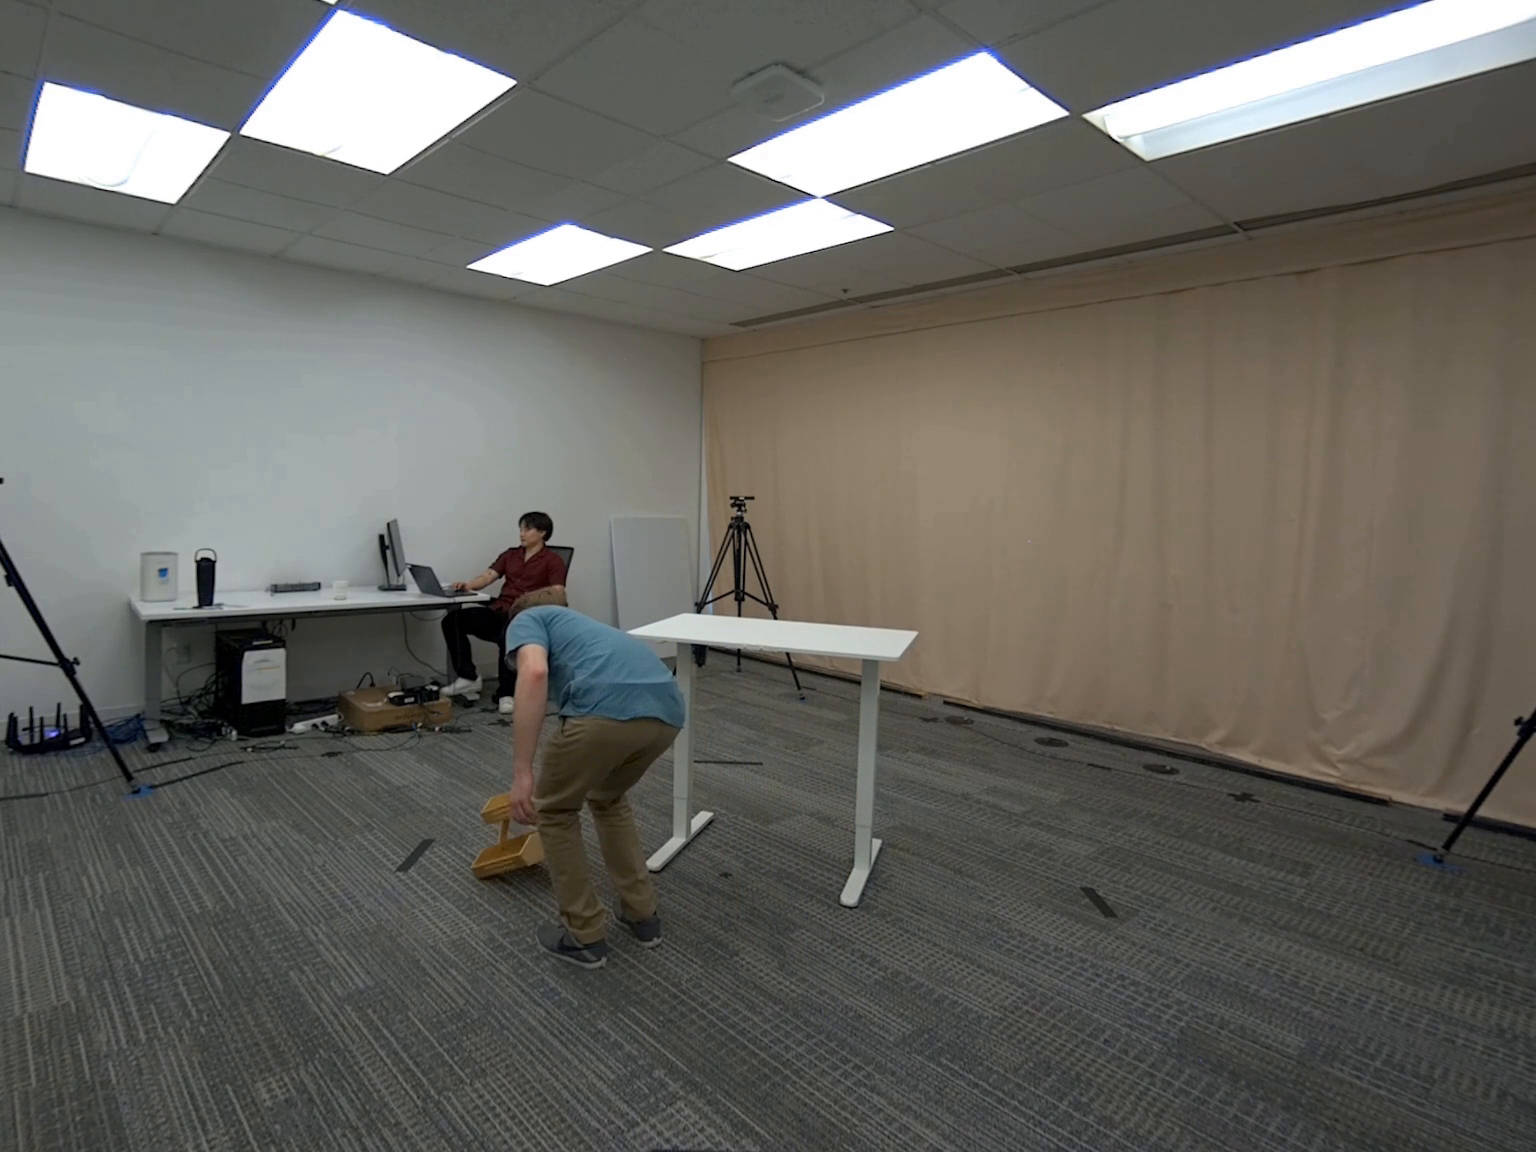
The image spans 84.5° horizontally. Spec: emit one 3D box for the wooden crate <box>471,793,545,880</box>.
[{"bbox_3d":[-0.909,0.912,3.065,0.328,0.276,0.295,-26,-12,33],"label":"wooden crate"}]
